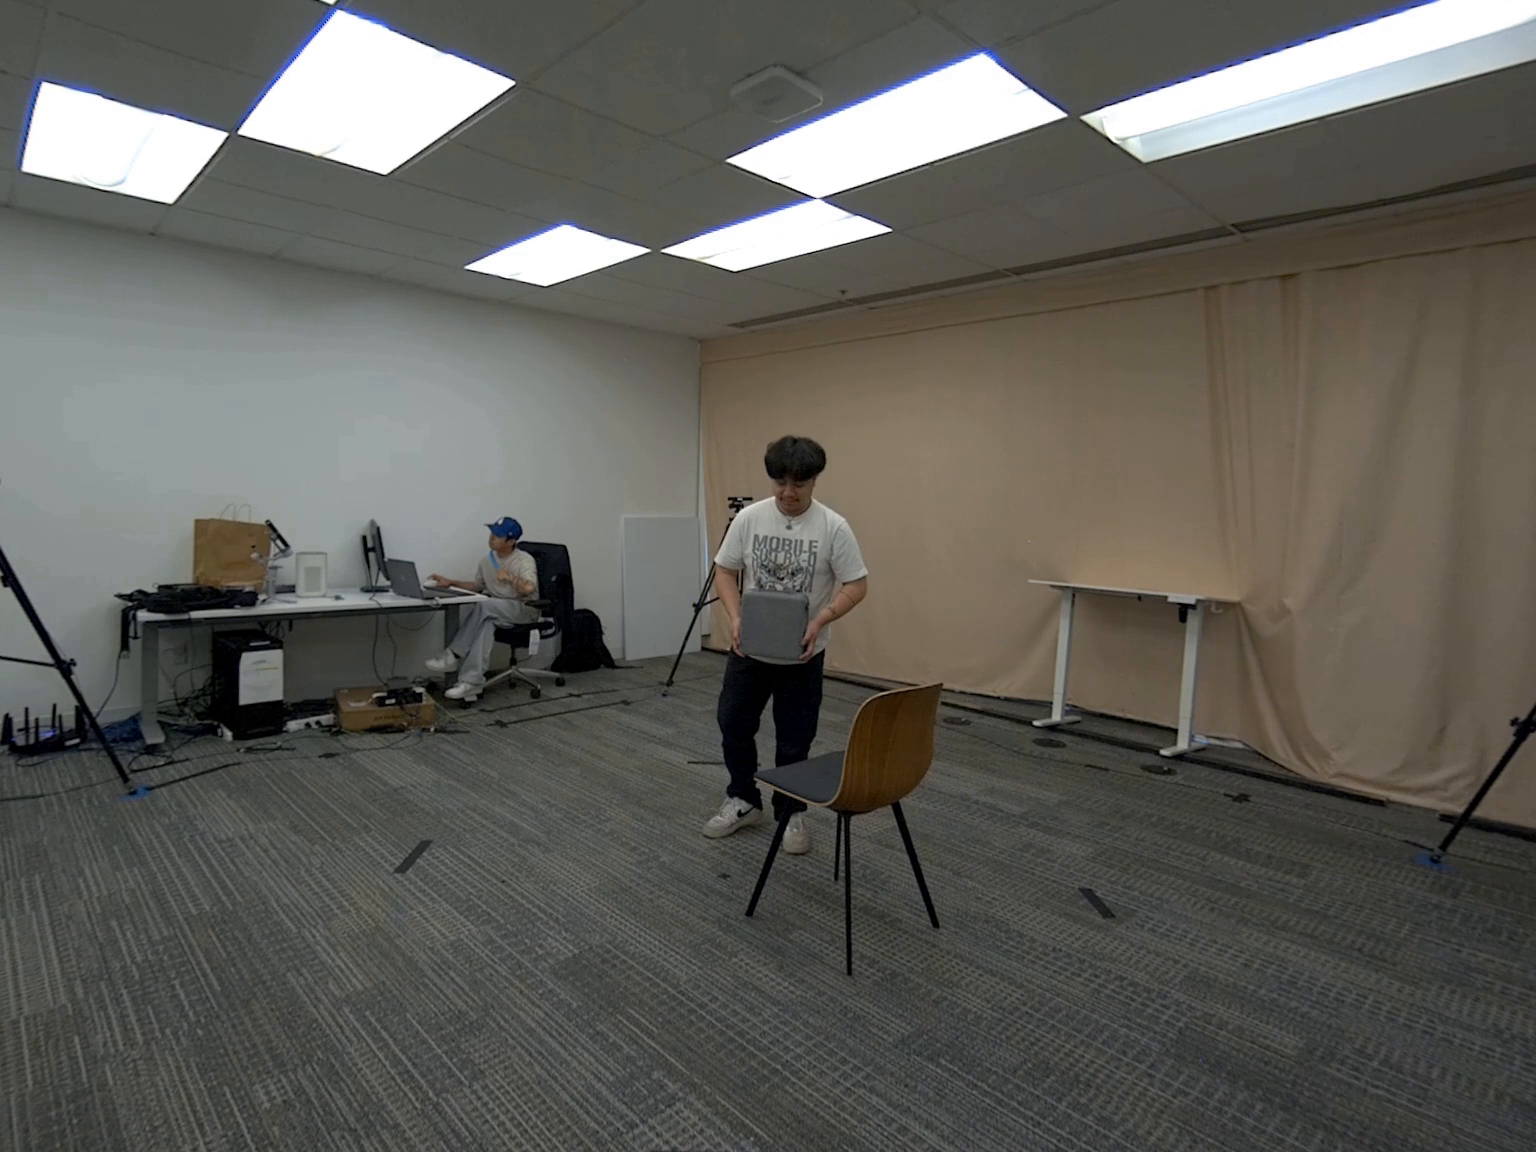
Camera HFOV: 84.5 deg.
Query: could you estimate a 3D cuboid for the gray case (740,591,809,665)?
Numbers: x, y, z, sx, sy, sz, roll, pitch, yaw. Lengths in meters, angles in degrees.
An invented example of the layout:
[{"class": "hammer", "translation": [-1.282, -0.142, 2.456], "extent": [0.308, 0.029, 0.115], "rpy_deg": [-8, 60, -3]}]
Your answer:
[{"class": "gray case", "translation": [0.013, 0.180, 3.201], "extent": [0.261, 0.259, 0.103], "rpy_deg": [4, 9, 19]}]
